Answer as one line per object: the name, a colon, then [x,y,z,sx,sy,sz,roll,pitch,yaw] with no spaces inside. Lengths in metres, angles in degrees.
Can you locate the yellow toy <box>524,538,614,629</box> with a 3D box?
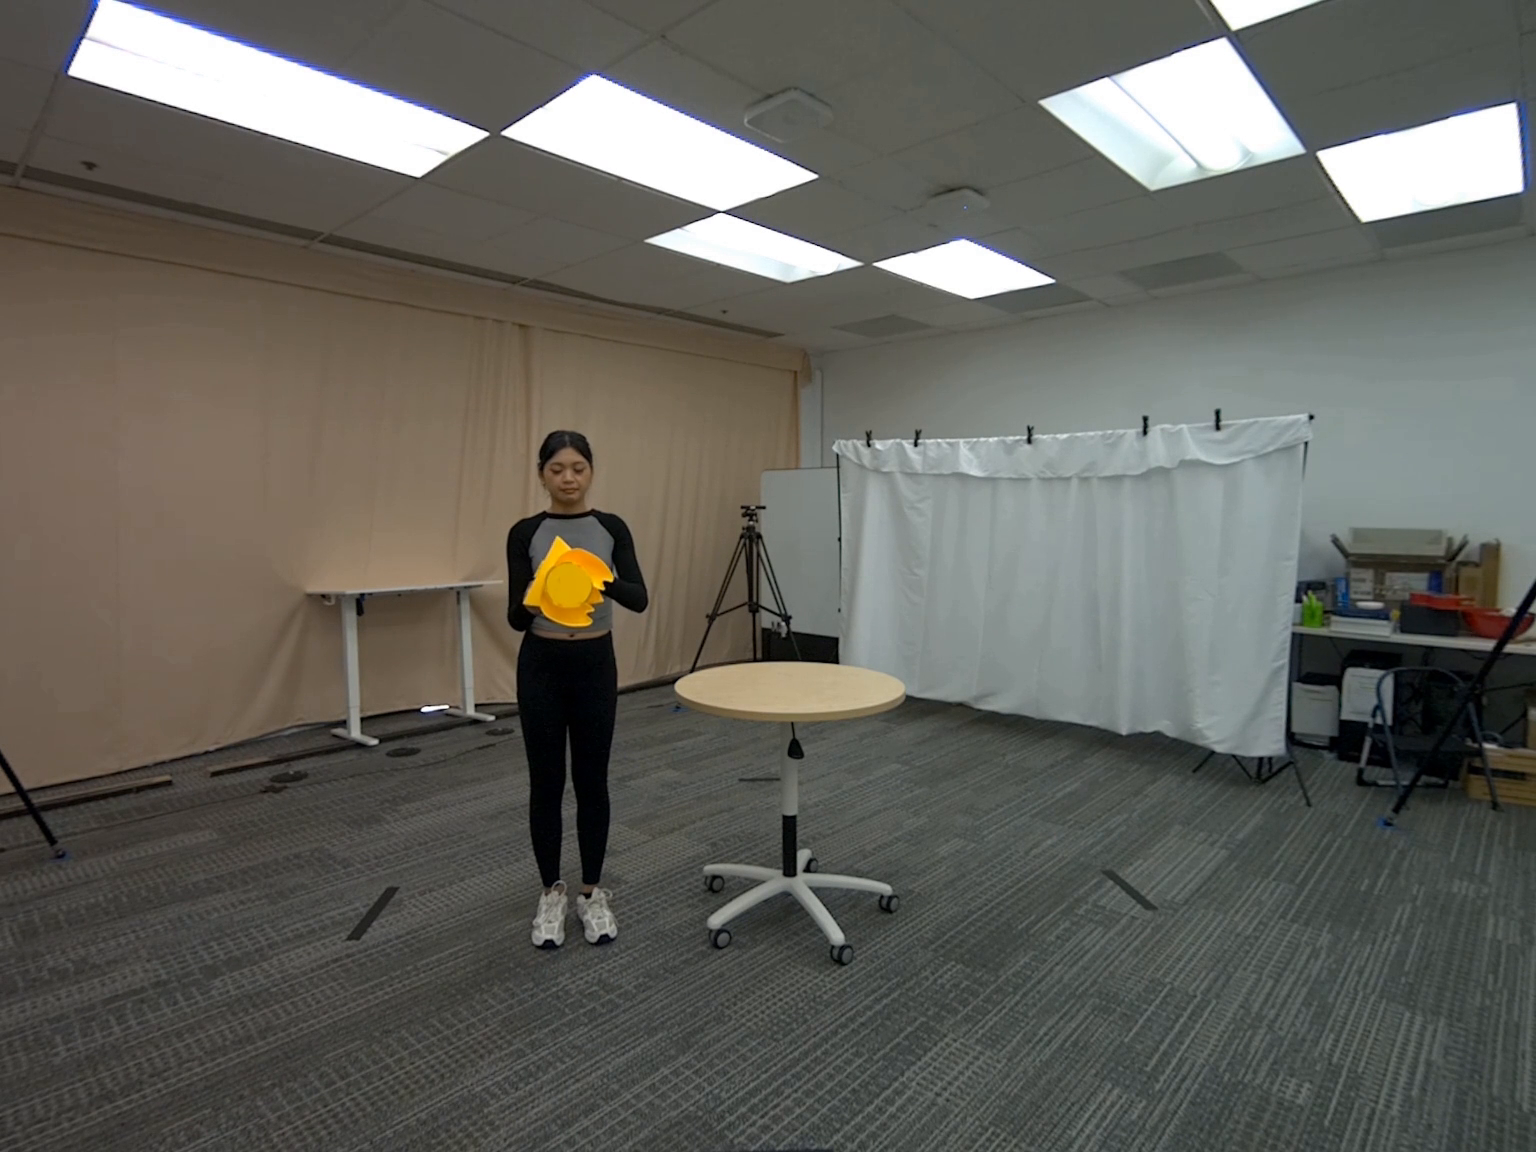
yellow toy: [-0.557,0.023,2.337,0.190,0.205,0.234,27,-5,-15]
